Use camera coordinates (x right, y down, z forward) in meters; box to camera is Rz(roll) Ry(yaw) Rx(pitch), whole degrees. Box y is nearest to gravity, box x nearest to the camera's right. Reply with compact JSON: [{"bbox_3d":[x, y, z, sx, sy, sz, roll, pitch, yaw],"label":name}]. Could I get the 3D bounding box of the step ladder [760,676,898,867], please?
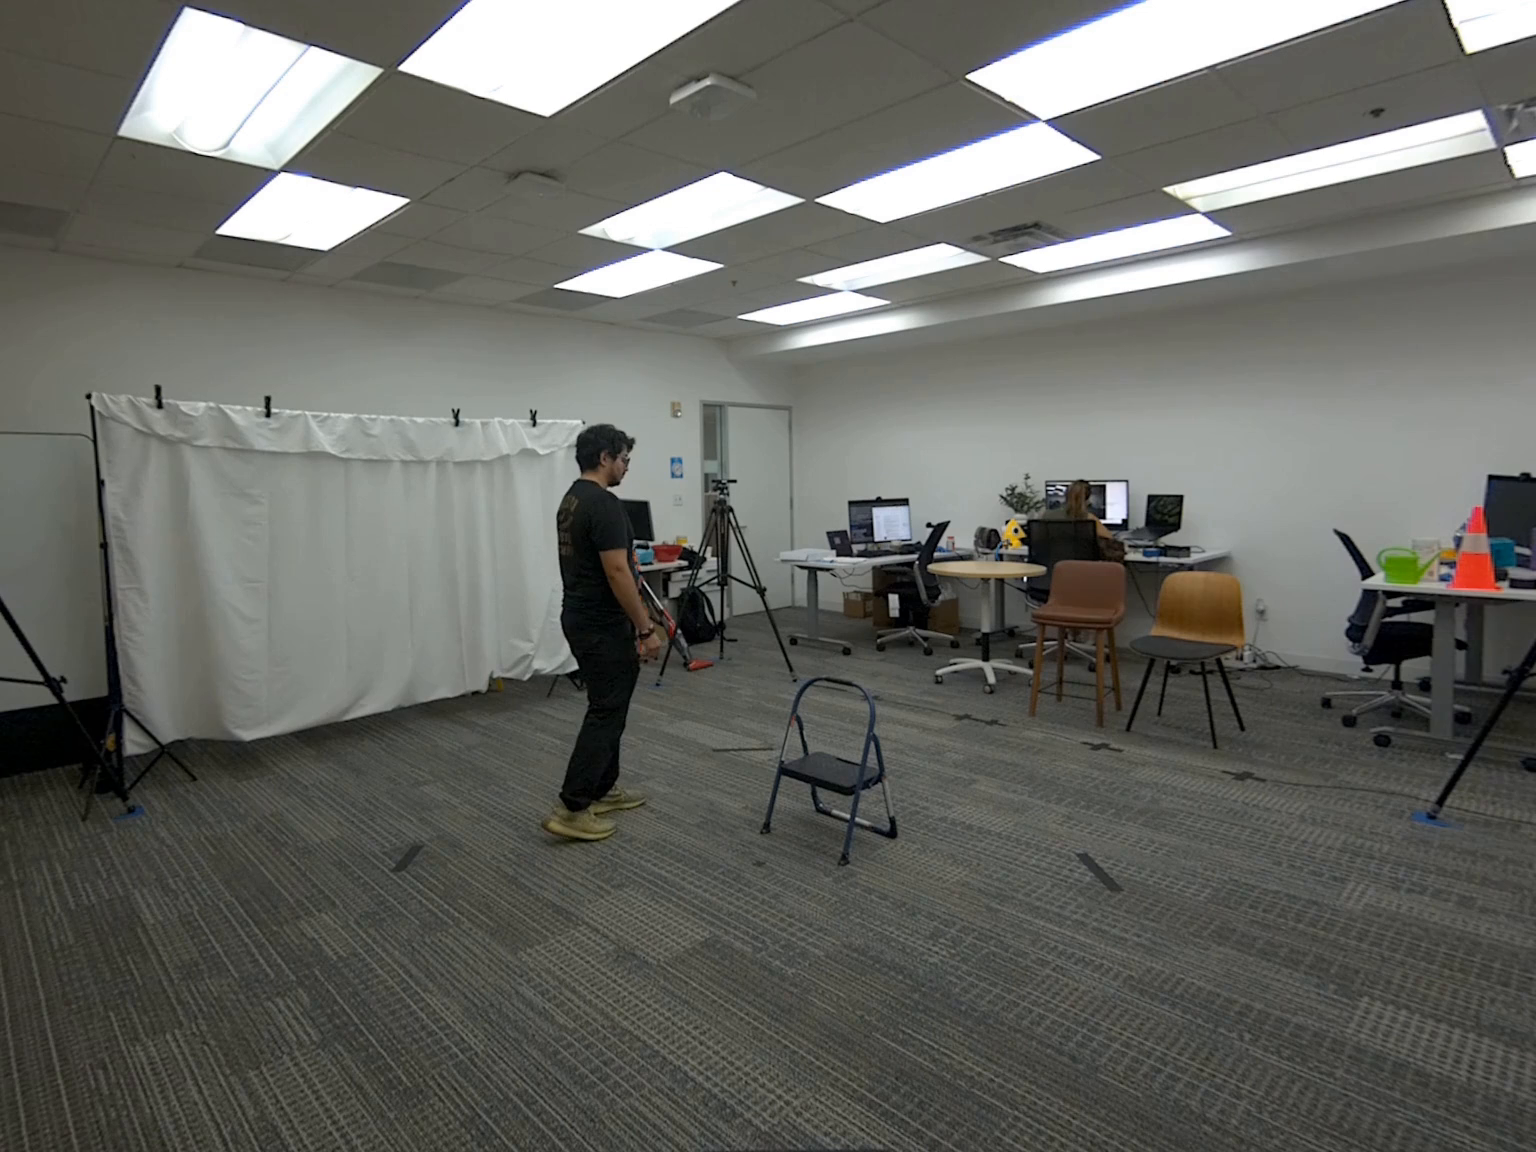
[{"bbox_3d":[0.238,0.714,3.329,0.340,0.604,0.444,-5,6,-45],"label":"step ladder"}]
